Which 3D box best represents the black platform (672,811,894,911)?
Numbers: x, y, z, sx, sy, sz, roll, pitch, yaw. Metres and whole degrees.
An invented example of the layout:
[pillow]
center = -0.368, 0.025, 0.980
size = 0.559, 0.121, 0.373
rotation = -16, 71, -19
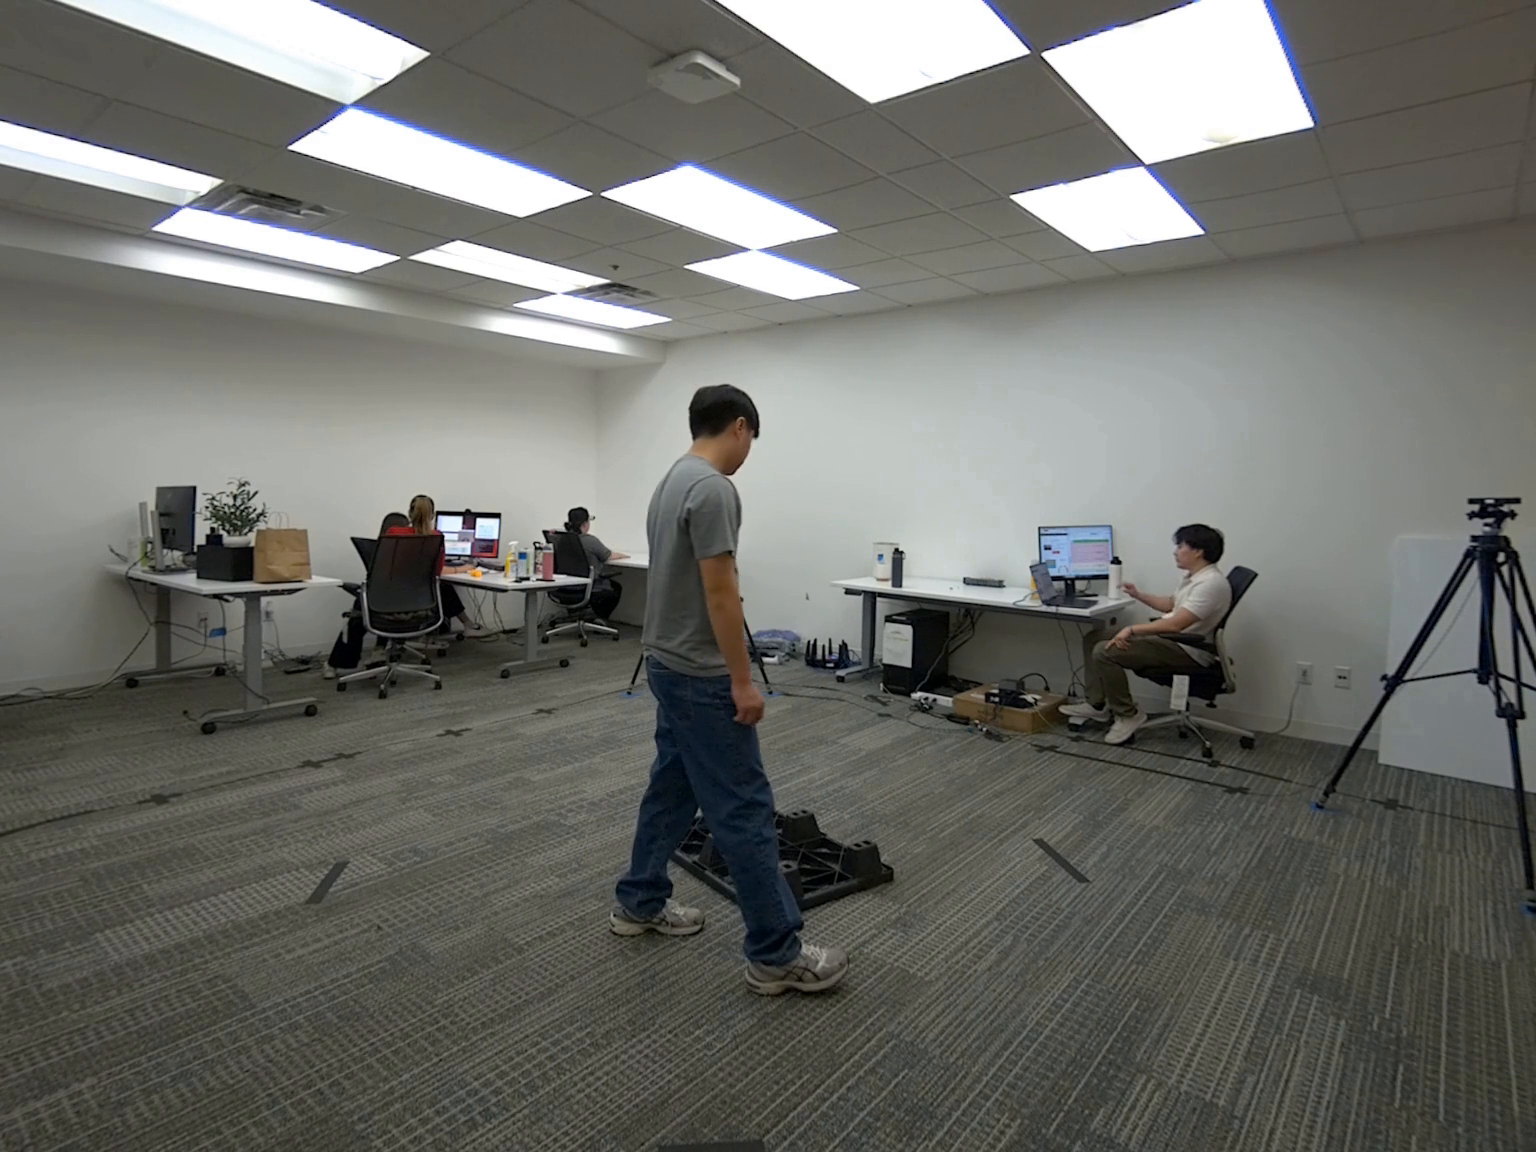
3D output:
[black platform]
center = -0.033, 0.995, 3.203
size = 0.587, 0.143, 0.832
rotation = -2, 6, -37
